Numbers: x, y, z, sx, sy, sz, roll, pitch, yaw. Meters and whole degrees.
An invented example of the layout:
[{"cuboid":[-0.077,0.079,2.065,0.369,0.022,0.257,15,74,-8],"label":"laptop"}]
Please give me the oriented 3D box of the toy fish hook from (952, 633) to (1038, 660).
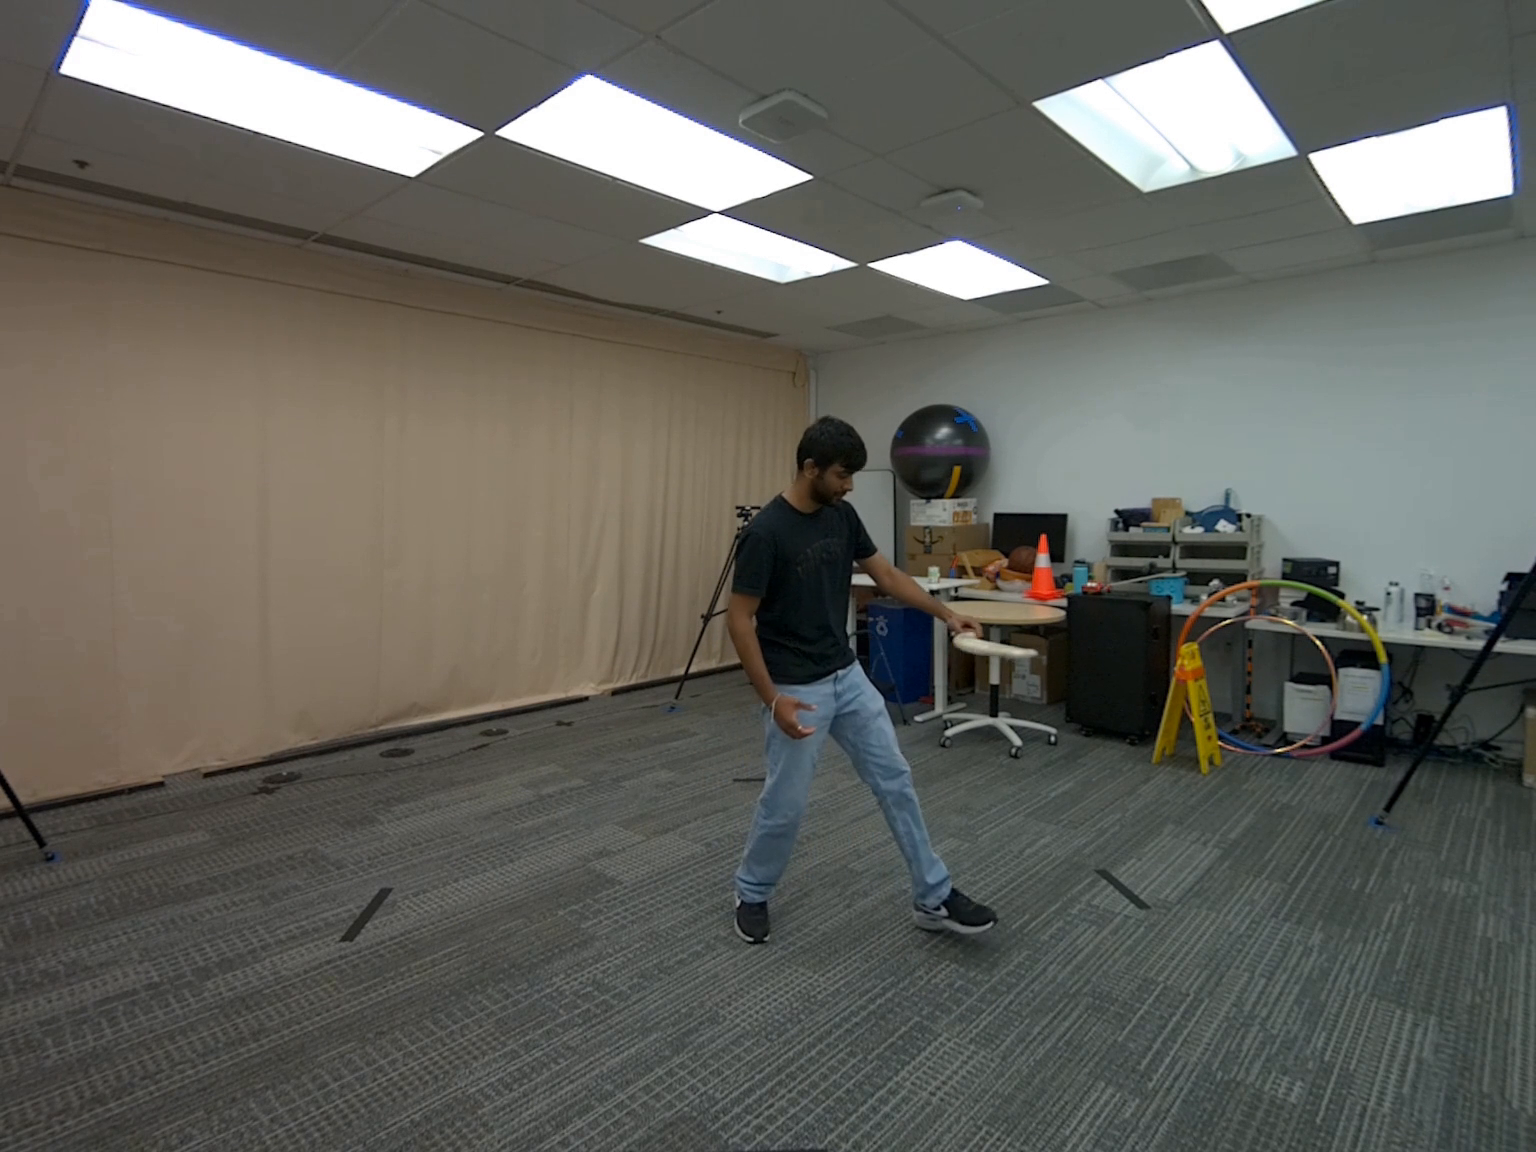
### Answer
[{"cuboid":[0.650,0.201,2.452,0.227,0.048,0.502,13,3,6],"label":"toy fish hook"}]
